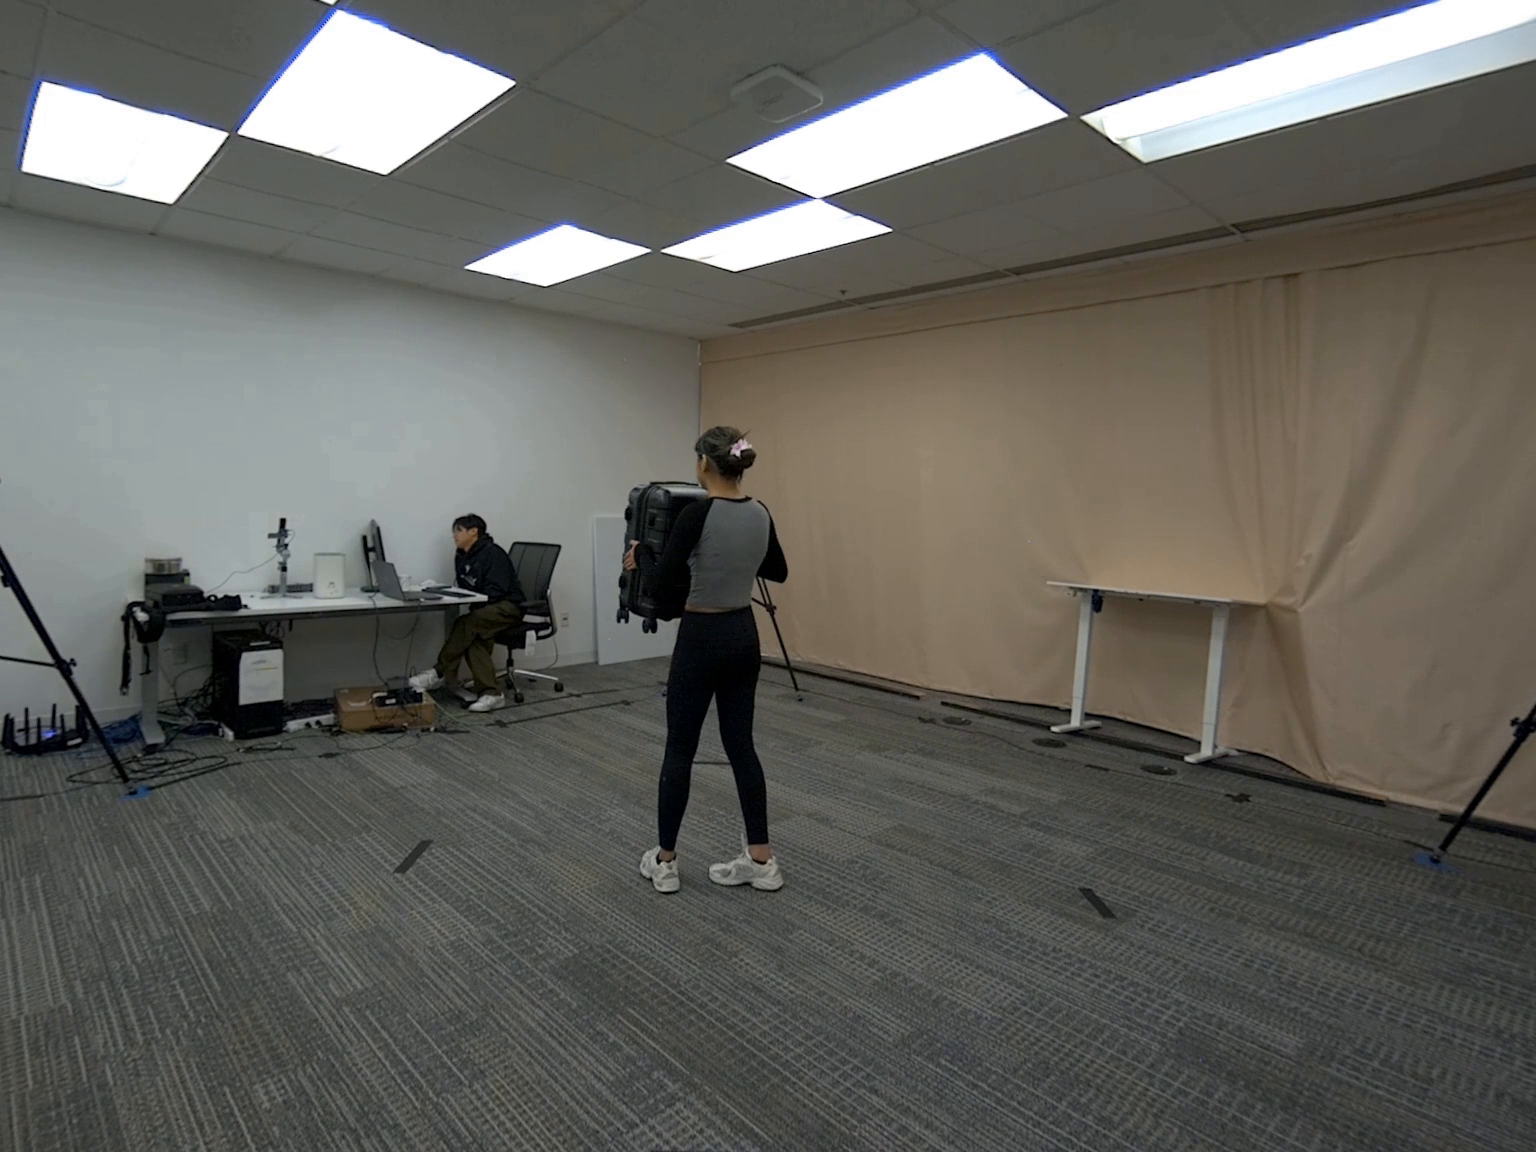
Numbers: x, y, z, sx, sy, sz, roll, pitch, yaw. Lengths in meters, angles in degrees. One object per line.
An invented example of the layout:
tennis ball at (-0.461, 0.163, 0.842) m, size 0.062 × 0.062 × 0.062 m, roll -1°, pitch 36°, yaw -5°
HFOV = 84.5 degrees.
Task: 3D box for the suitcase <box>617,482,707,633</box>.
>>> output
suitcase at (-0.362, -0.082, 3.215) m, size 0.366 × 0.547 × 0.255 m, roll 1°, pitch 9°, yaw -40°
